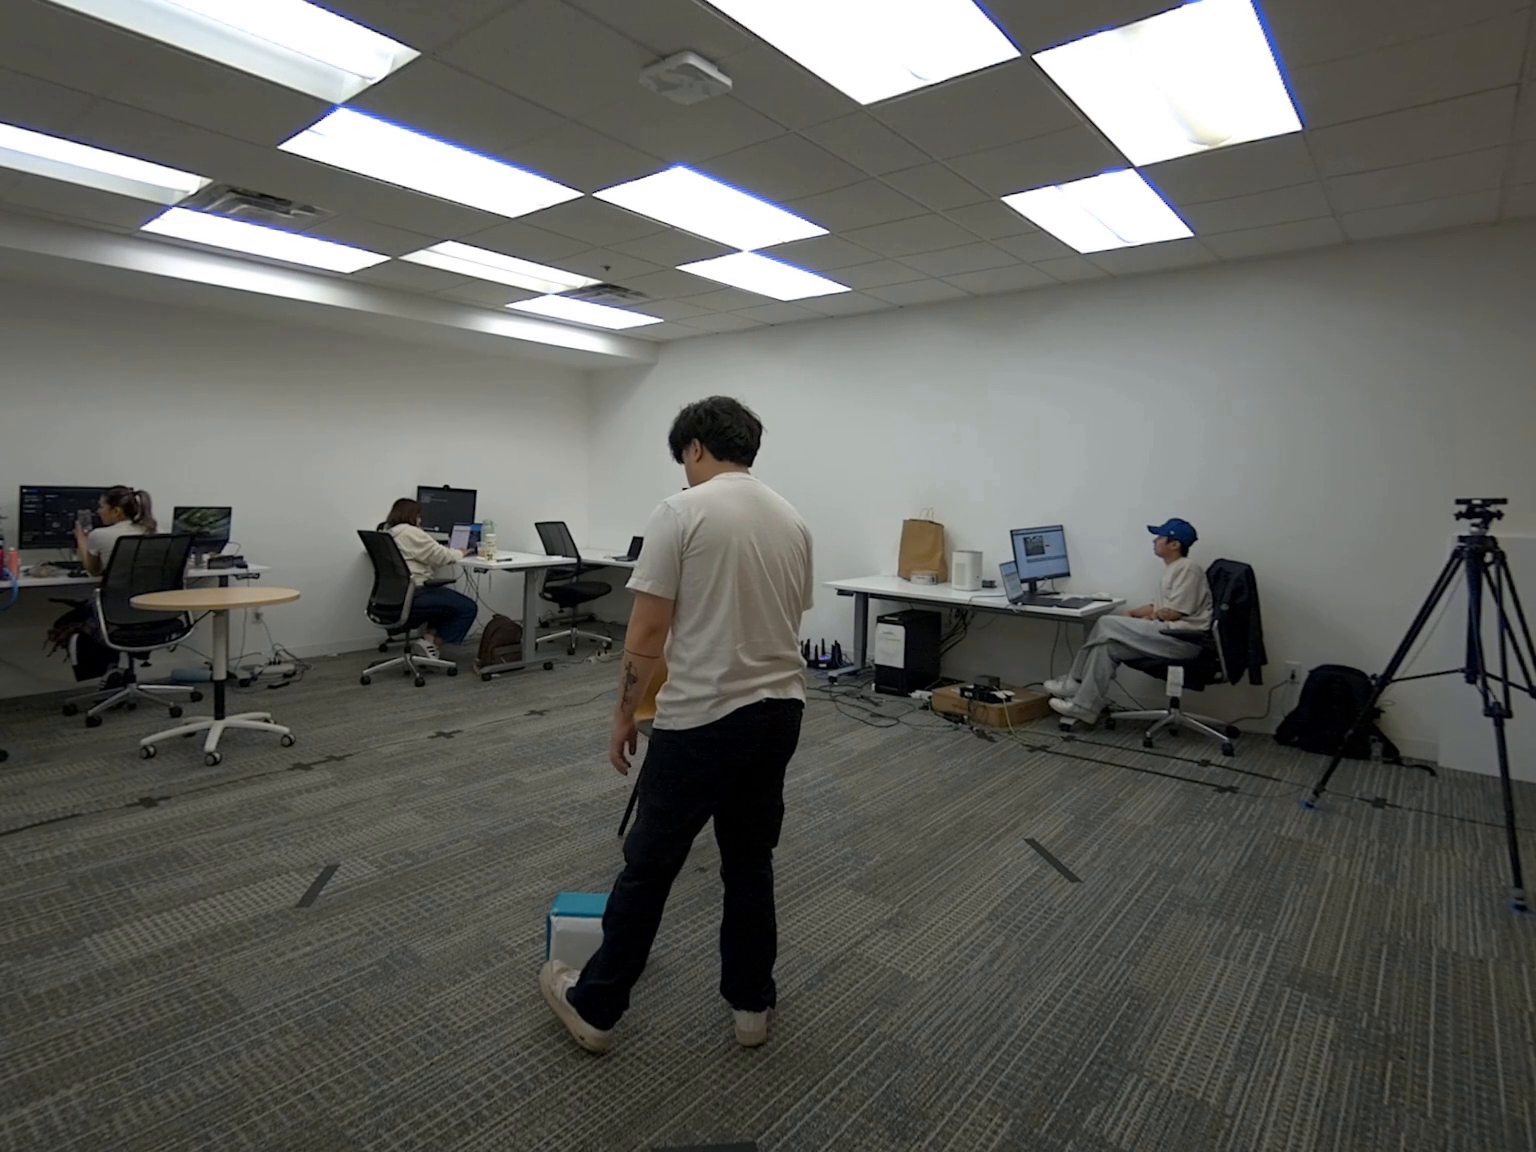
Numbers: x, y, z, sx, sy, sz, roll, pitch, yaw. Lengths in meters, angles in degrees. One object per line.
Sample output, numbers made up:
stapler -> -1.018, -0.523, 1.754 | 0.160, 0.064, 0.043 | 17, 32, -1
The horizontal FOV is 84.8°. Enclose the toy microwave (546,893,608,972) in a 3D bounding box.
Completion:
toy microwave -> -0.498, 1.036, 2.459 | 0.288, 0.184, 0.151 | 1, 1, 5
